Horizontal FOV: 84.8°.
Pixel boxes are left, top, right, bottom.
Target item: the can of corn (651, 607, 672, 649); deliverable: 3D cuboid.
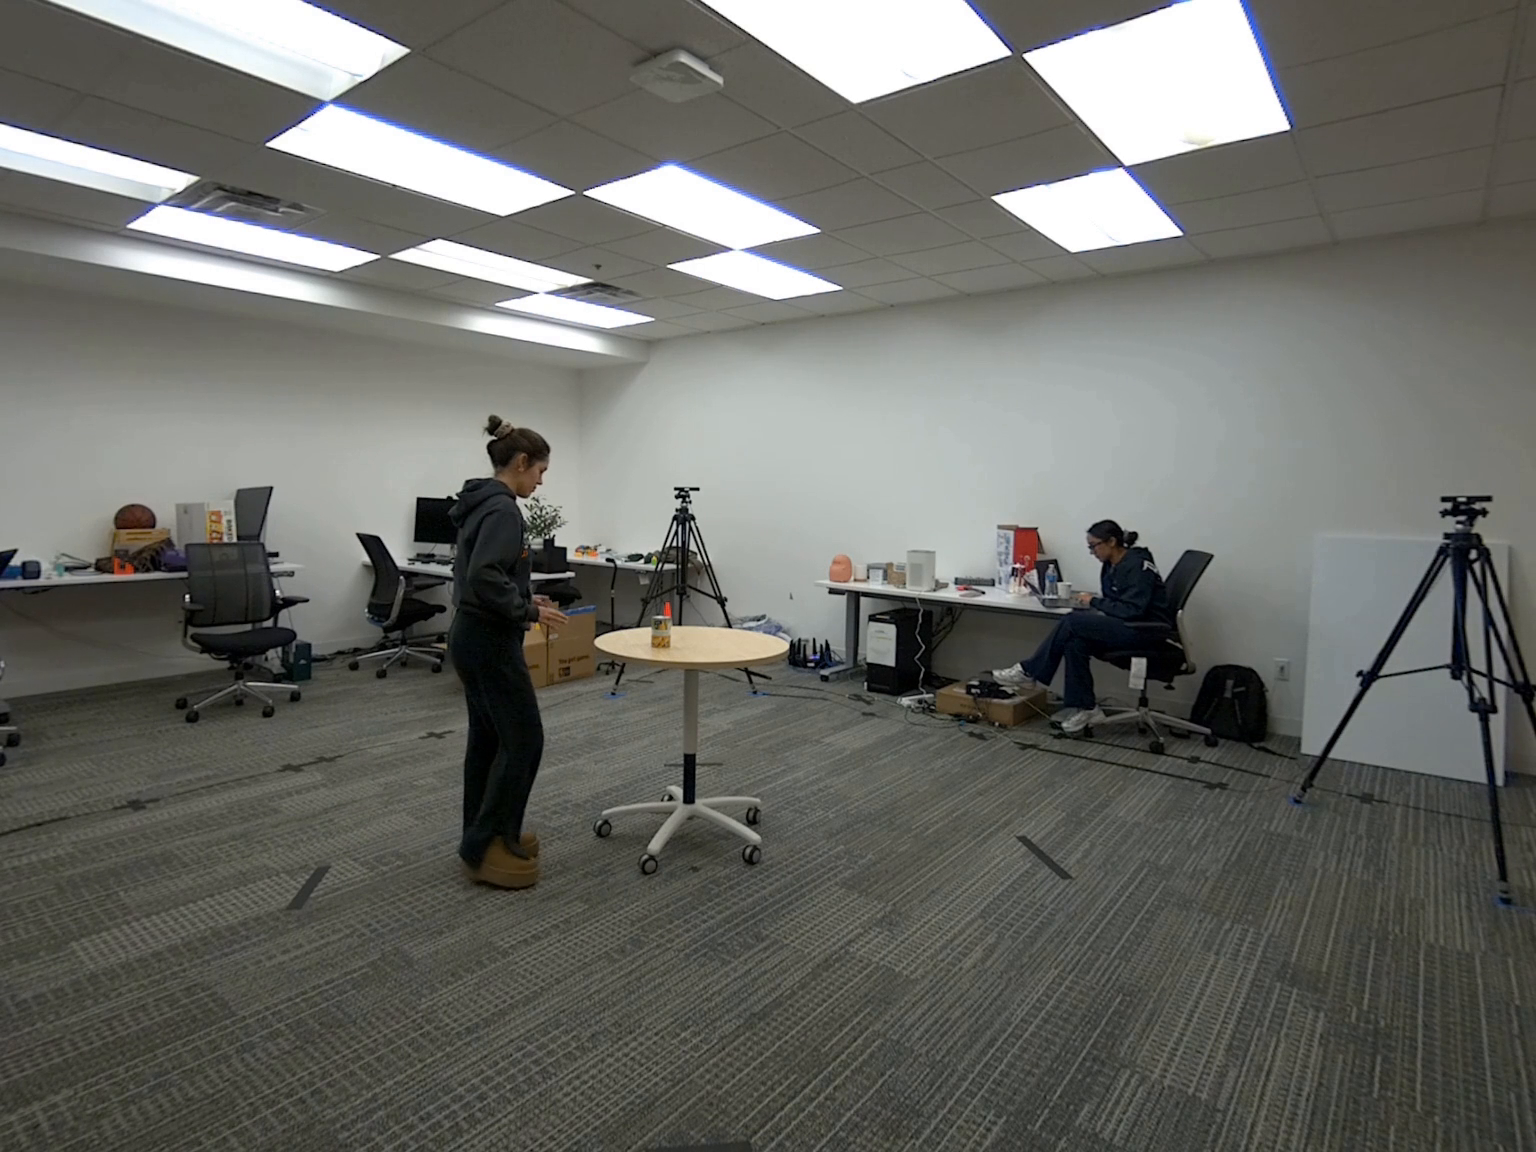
[{"bbox_3d":[-0.411,0.213,3.243,0.074,0.110,0.074,1,5,-2],"label":"can of corn"}]
